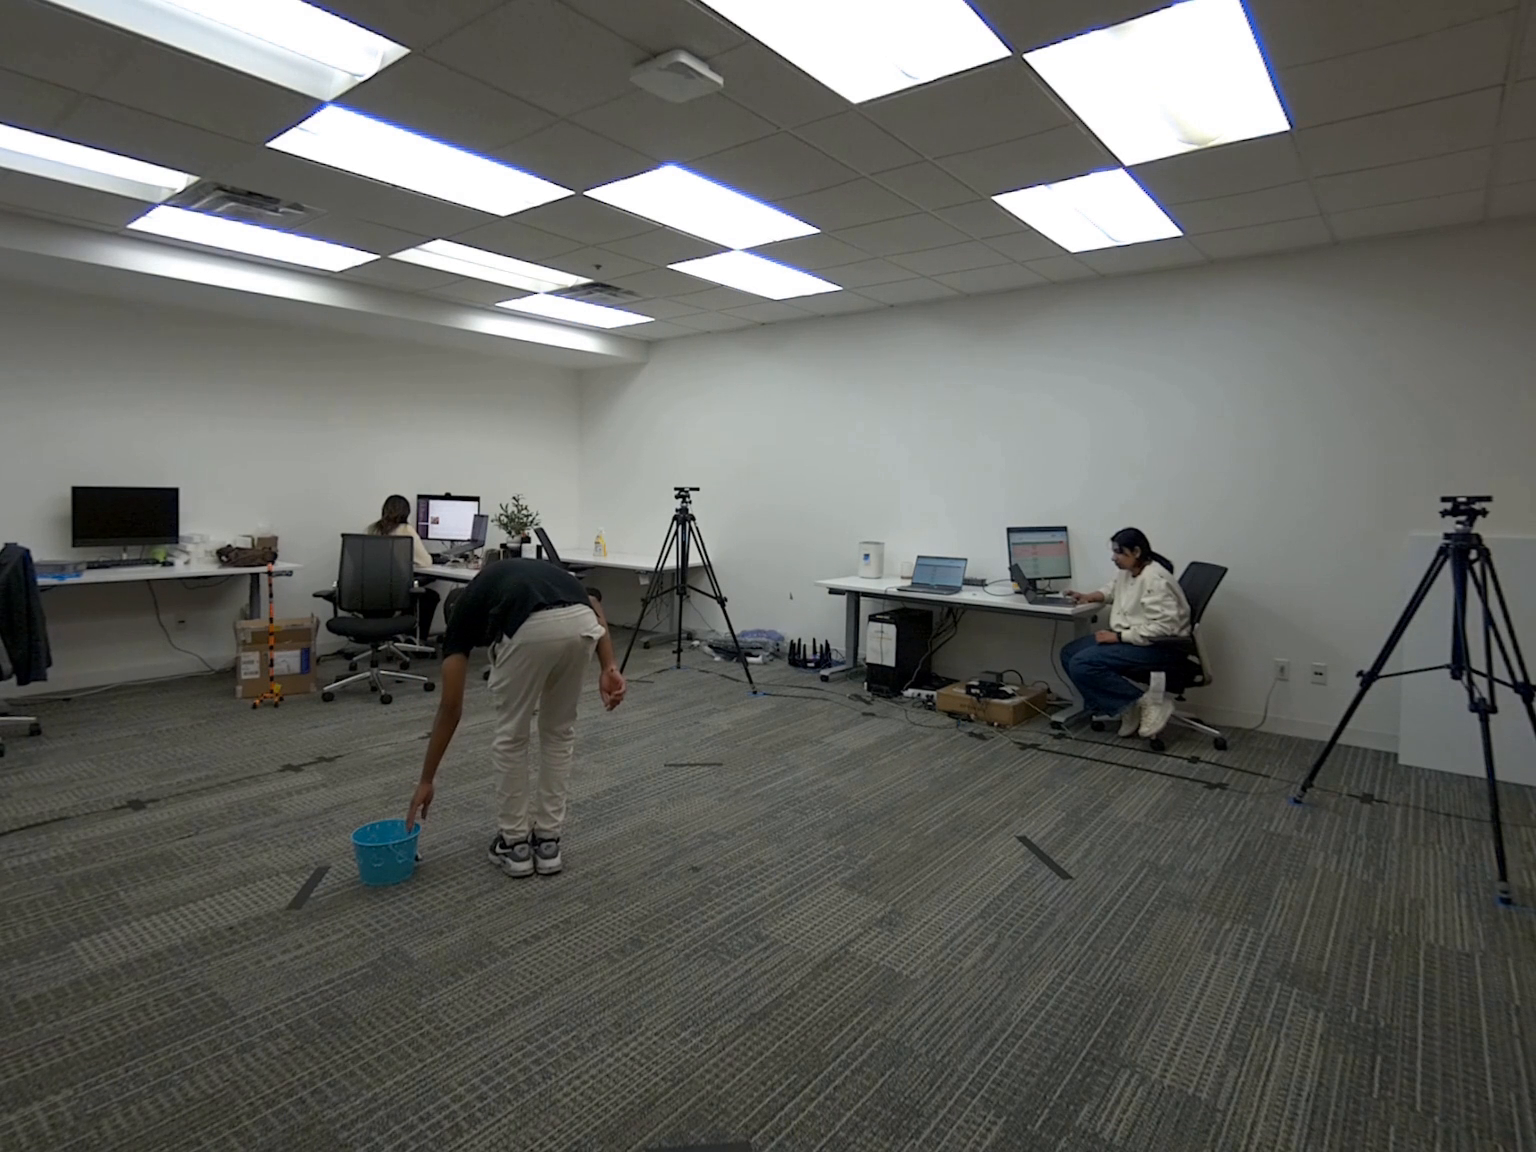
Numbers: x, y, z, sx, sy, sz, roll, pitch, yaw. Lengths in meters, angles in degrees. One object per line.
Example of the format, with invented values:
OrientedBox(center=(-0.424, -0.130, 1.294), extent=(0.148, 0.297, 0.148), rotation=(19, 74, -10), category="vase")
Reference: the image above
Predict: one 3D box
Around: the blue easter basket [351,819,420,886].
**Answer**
OrientedBox(center=(-1.371, 0.986, 3.027), extent=(0.243, 0.155, 0.245), rotation=(0, 5, -2), category="blue easter basket")
